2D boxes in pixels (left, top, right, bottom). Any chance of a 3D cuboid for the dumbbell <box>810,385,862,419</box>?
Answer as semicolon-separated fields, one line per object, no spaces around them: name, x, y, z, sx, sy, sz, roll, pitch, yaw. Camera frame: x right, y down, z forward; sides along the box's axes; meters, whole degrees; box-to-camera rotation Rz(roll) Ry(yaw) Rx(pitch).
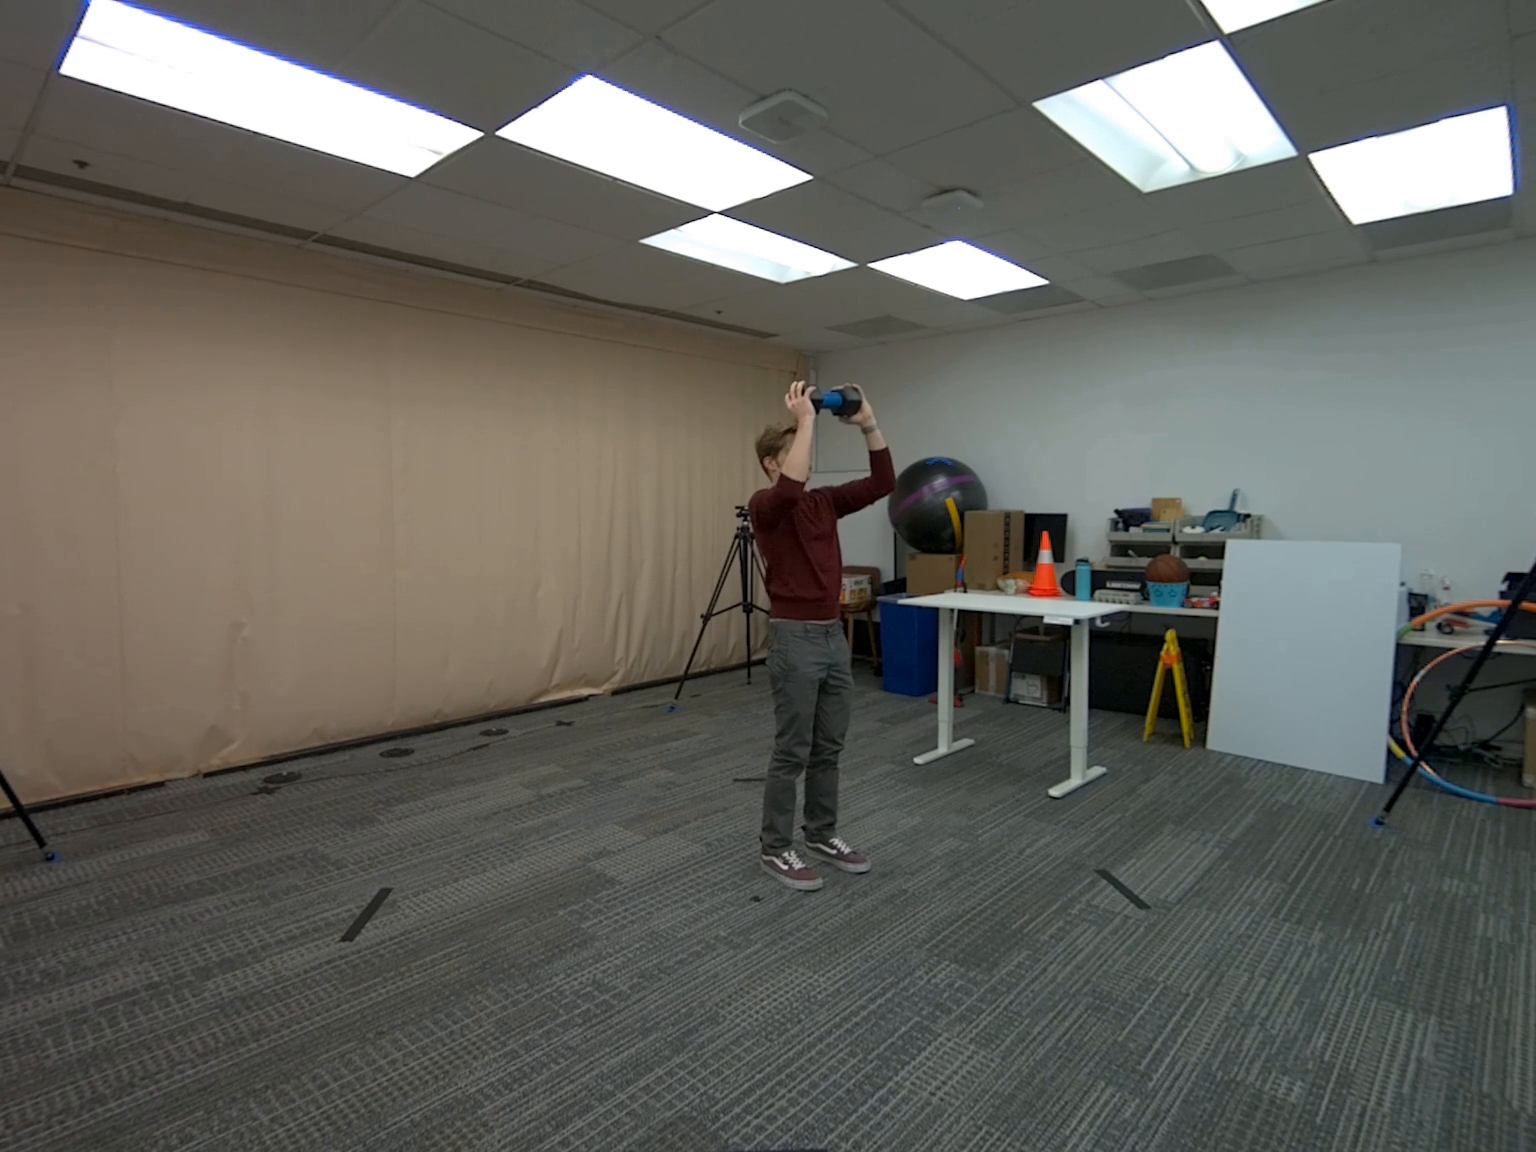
dumbbell;0.212;-0.638;3.061;0.285;0.125;0.110;-12;-20;-43
